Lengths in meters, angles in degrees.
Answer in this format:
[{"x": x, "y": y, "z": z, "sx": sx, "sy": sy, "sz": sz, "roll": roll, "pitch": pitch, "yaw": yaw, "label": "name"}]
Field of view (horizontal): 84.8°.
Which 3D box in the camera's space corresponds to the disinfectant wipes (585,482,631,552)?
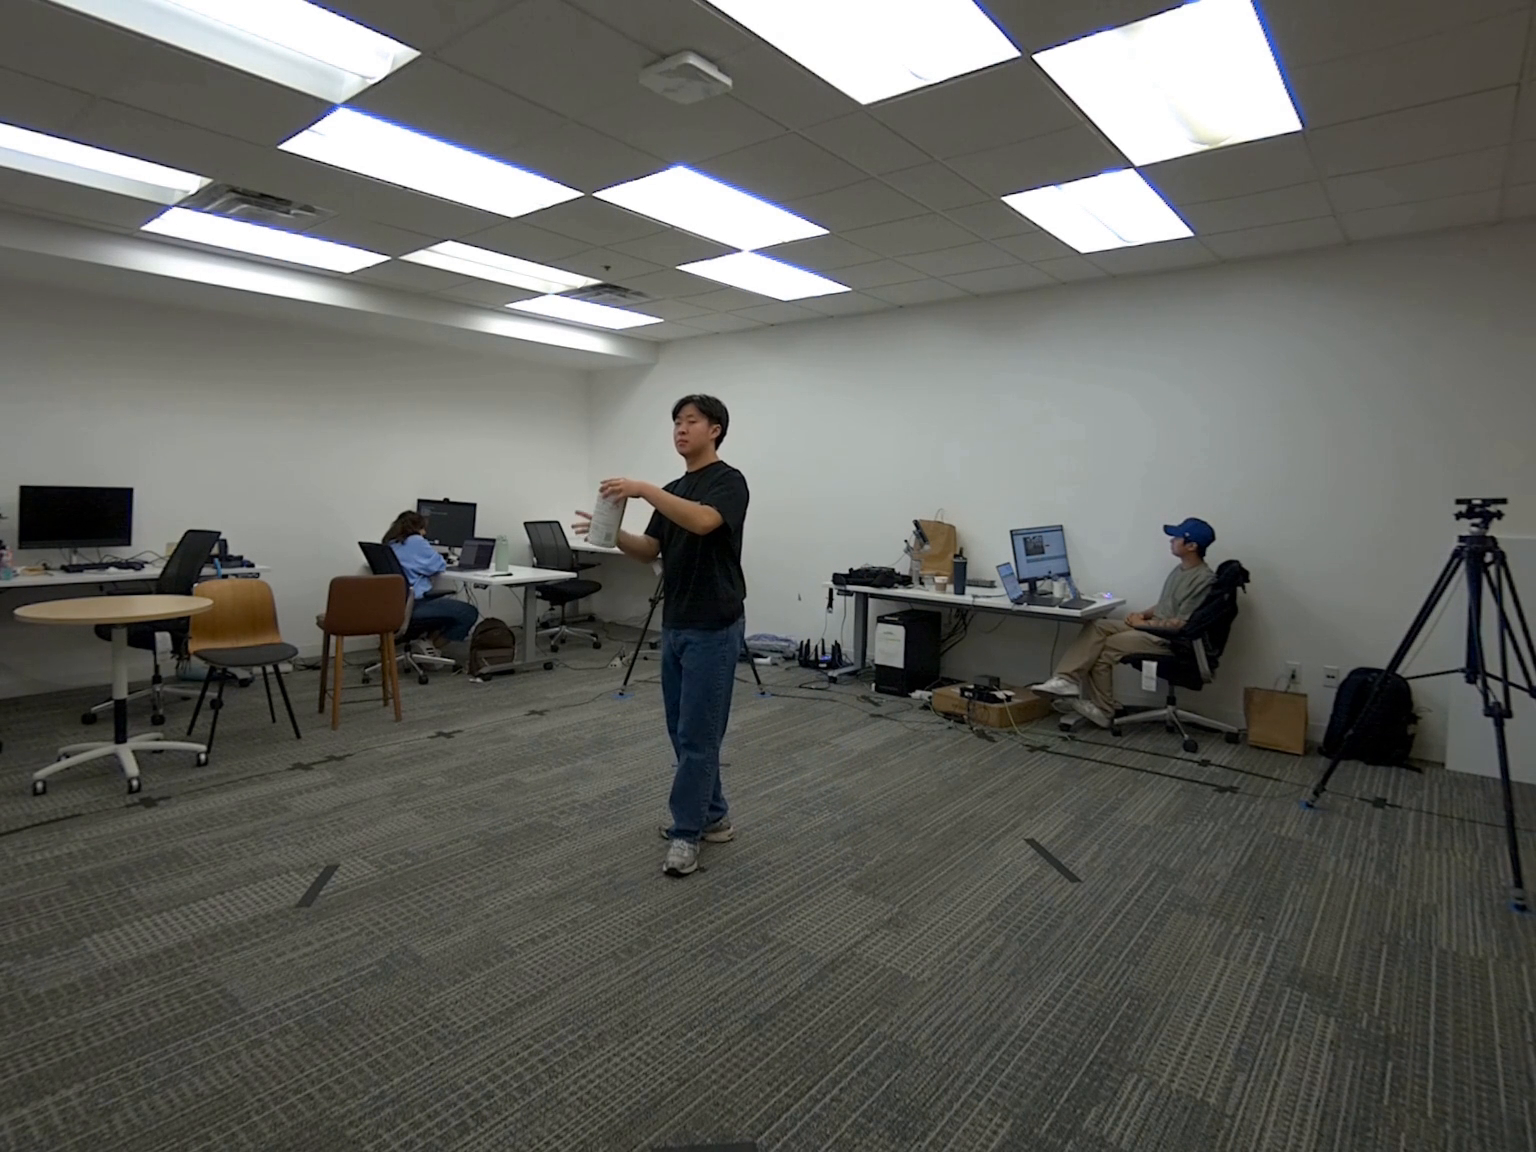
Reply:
[{"x": -0.584, "y": -0.220, "z": 3.087, "sx": 0.117, "sy": 0.216, "sz": 0.119, "roll": 12, "pitch": 9, "yaw": -4, "label": "disinfectant wipes"}]
